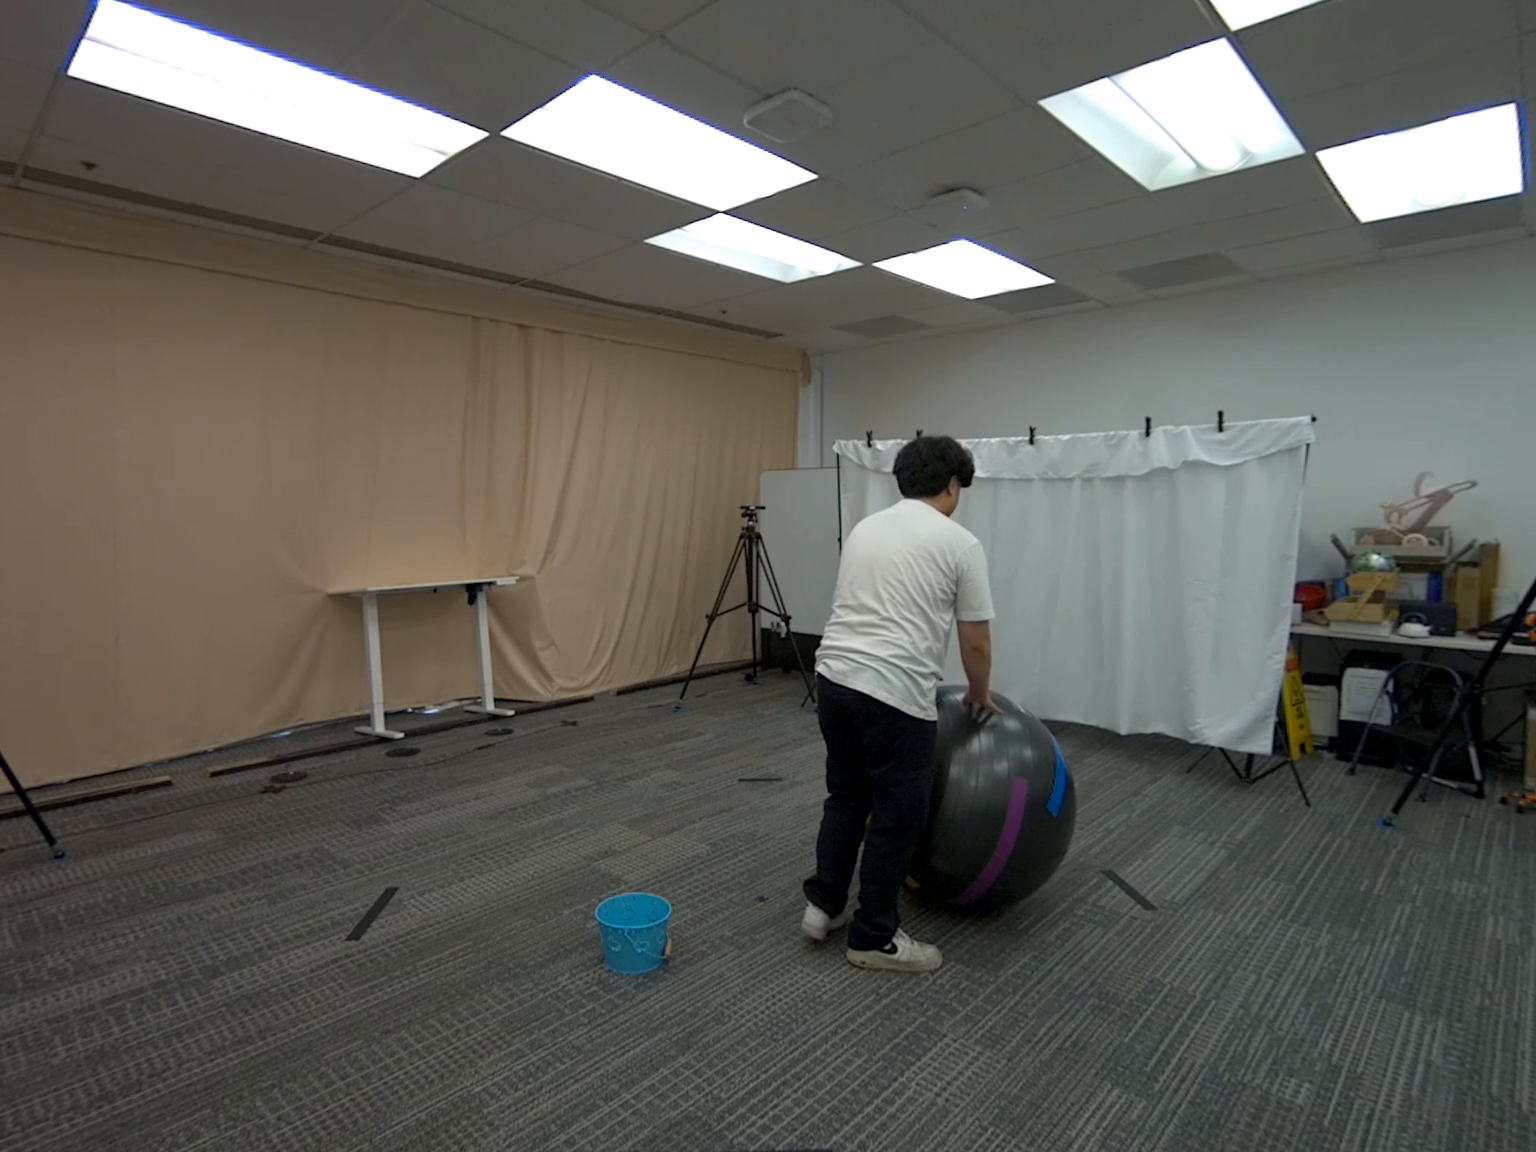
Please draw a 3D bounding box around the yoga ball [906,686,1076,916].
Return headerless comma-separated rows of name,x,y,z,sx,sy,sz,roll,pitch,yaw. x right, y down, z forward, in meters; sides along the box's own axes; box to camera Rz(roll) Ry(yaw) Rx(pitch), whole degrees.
yoga ball,0.686,0.774,2.965,0.757,0.756,0.760,0,4,-2
